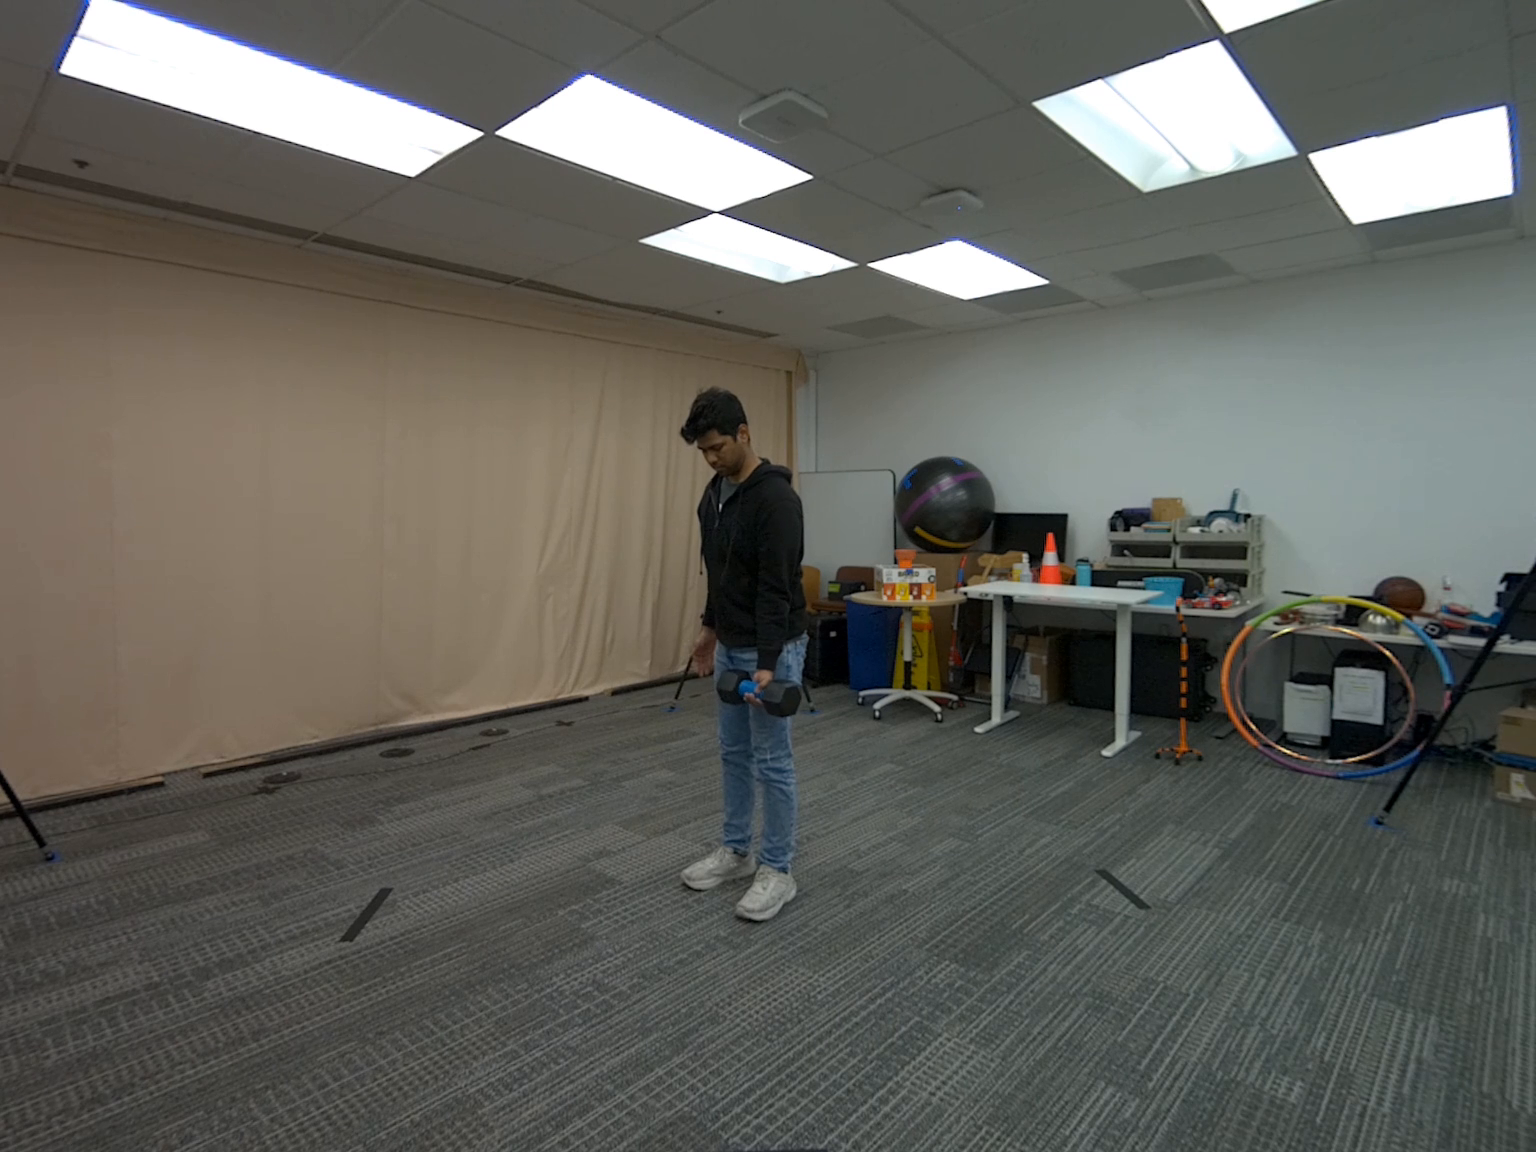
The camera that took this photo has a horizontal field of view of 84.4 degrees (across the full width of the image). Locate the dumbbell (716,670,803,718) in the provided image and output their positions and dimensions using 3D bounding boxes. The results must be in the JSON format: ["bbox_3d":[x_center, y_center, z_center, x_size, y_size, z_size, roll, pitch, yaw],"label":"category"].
[{"bbox_3d":[-0.042,0.368,2.720,0.303,0.123,0.105,6,-22,46],"label":"dumbbell"}]
